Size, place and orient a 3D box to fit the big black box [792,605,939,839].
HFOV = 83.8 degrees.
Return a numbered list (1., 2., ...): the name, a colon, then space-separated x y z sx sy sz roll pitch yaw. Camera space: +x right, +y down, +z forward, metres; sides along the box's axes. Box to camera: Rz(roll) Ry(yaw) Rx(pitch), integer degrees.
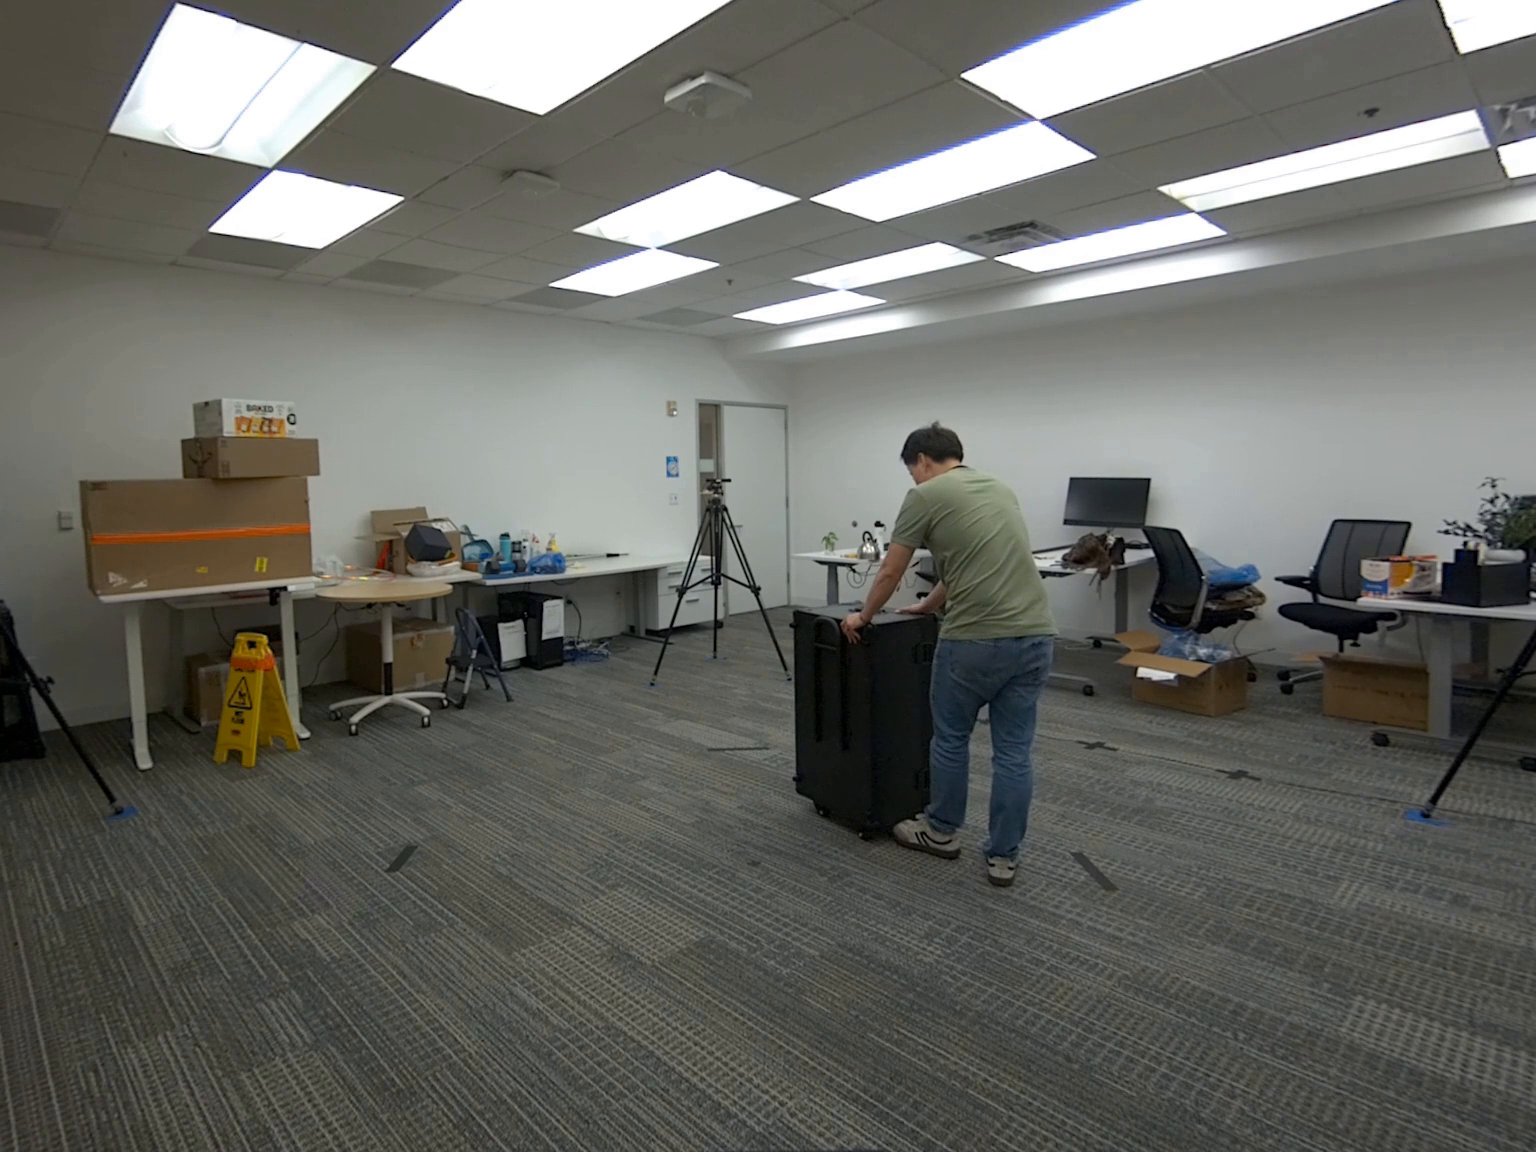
1. big black box: 0.385 0.571 3.469 0.387 0.858 0.536 -4 6 -32
